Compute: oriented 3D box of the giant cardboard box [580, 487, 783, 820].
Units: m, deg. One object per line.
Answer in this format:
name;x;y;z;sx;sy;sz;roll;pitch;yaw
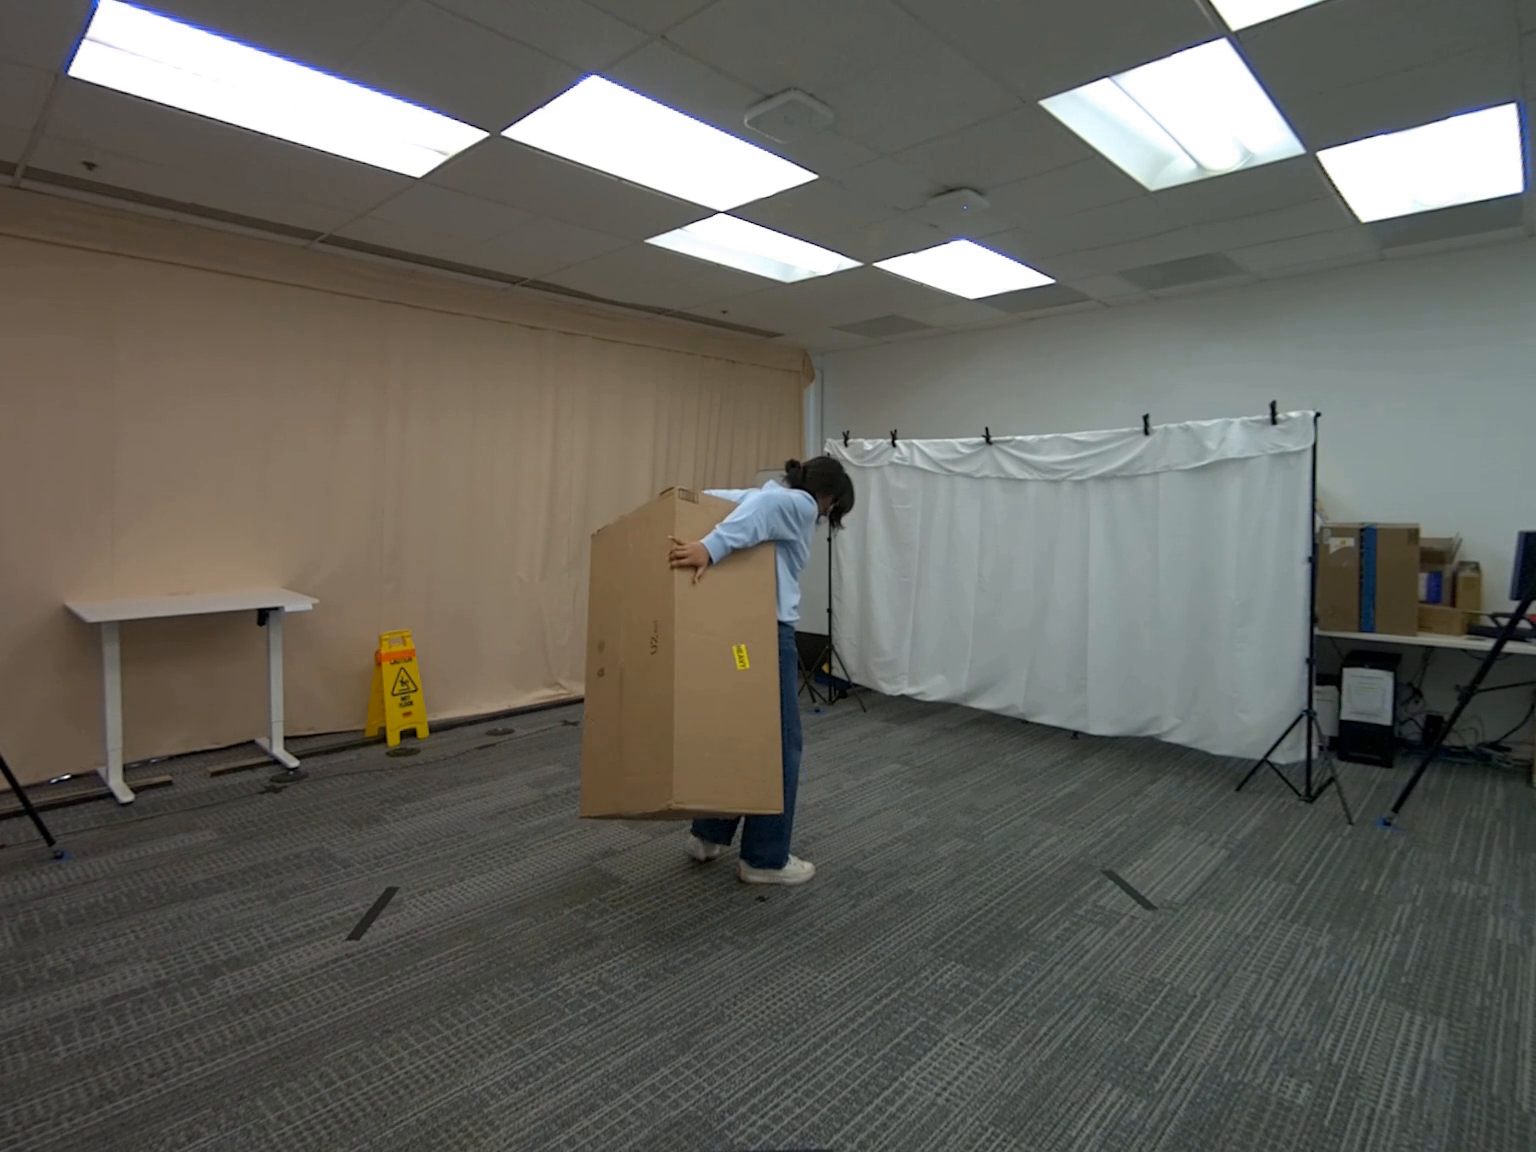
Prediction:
giant cardboard box;-0.316;0.295;2.900;0.412;1.038;0.590;15;-25;-36
